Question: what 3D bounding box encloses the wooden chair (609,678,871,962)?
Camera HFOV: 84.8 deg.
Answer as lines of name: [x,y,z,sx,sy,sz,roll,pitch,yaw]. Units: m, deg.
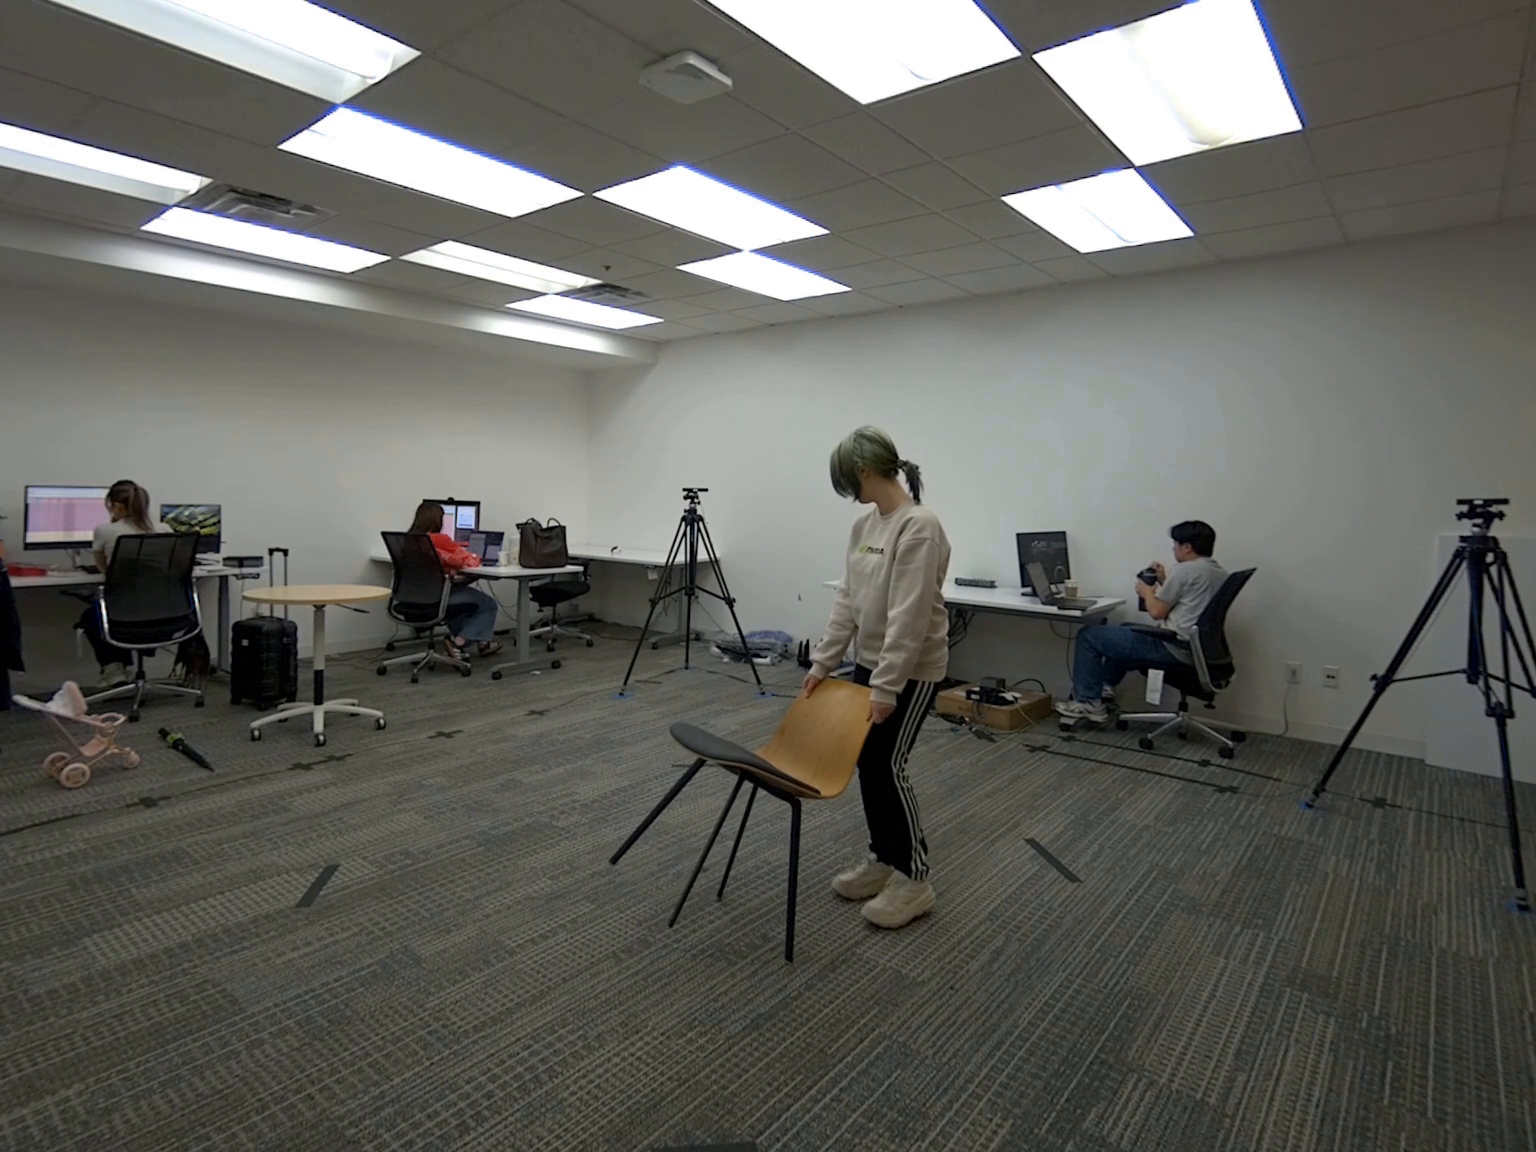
wooden chair: [-0.062,0.631,2.656,0.505,0.881,0.493,34,-13,-28]
